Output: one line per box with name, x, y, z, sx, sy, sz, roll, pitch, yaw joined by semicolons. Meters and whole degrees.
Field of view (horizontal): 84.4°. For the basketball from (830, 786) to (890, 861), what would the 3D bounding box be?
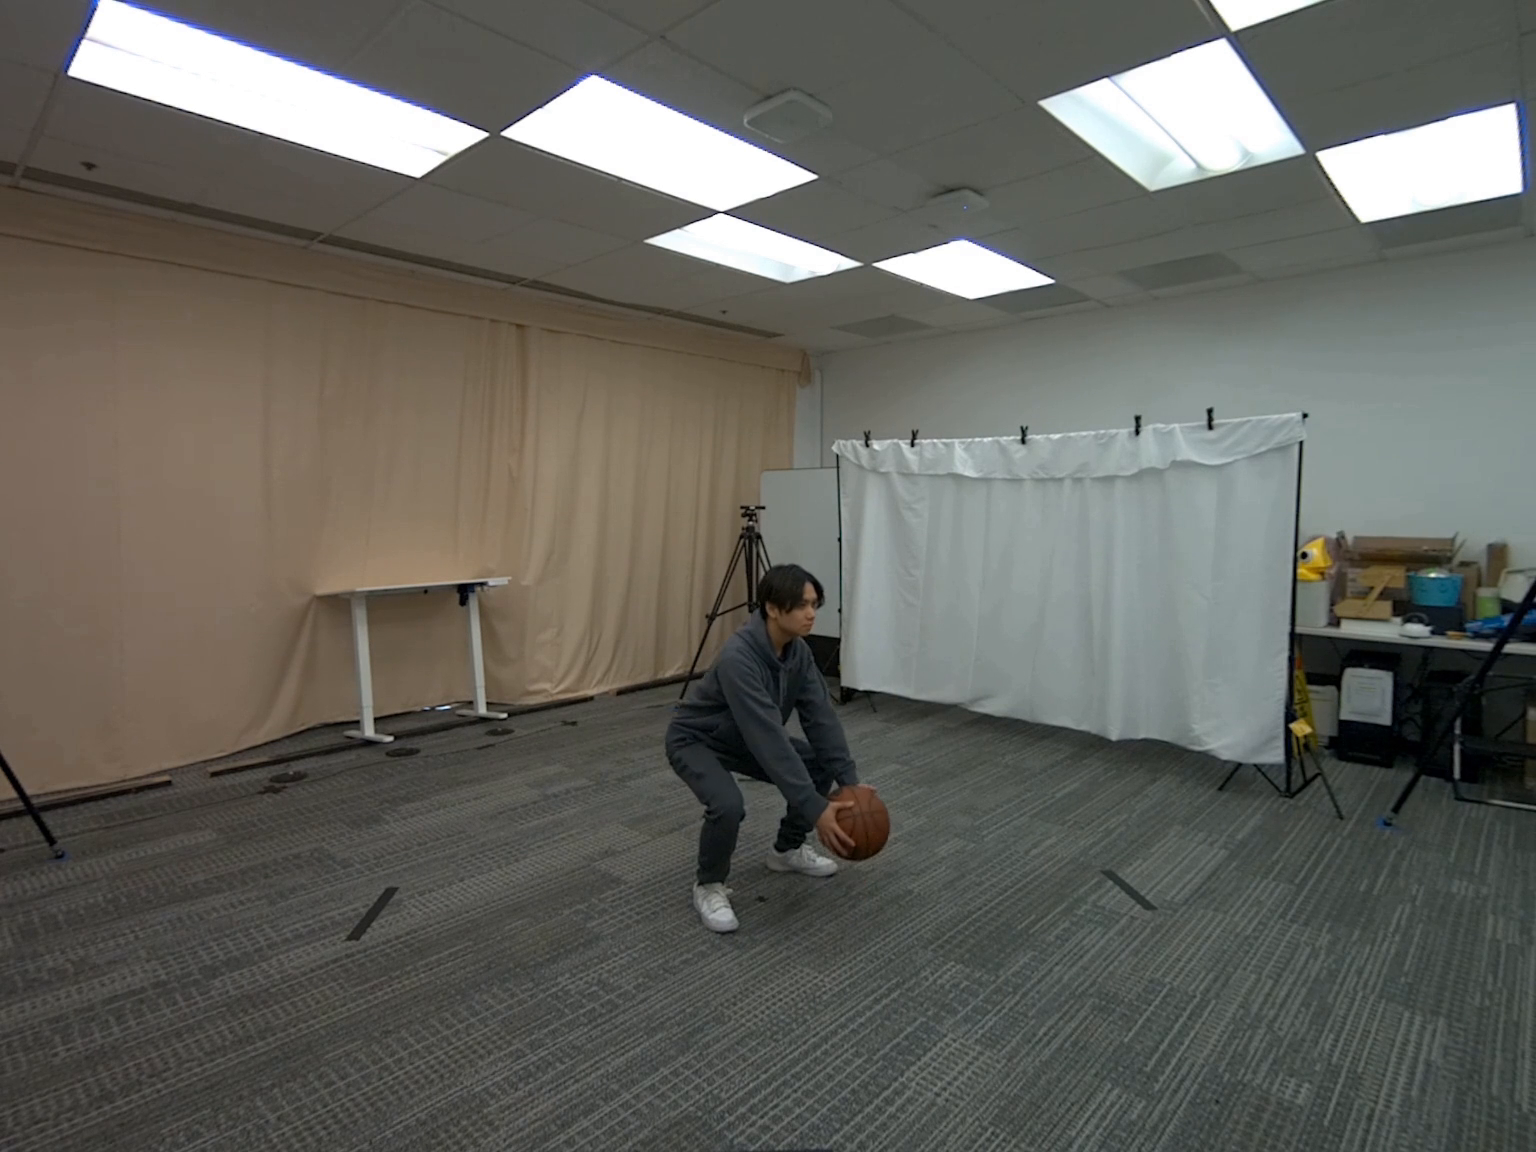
basketball;0.284;0.806;2.777;0.236;0.235;0.237;0;4;-2
